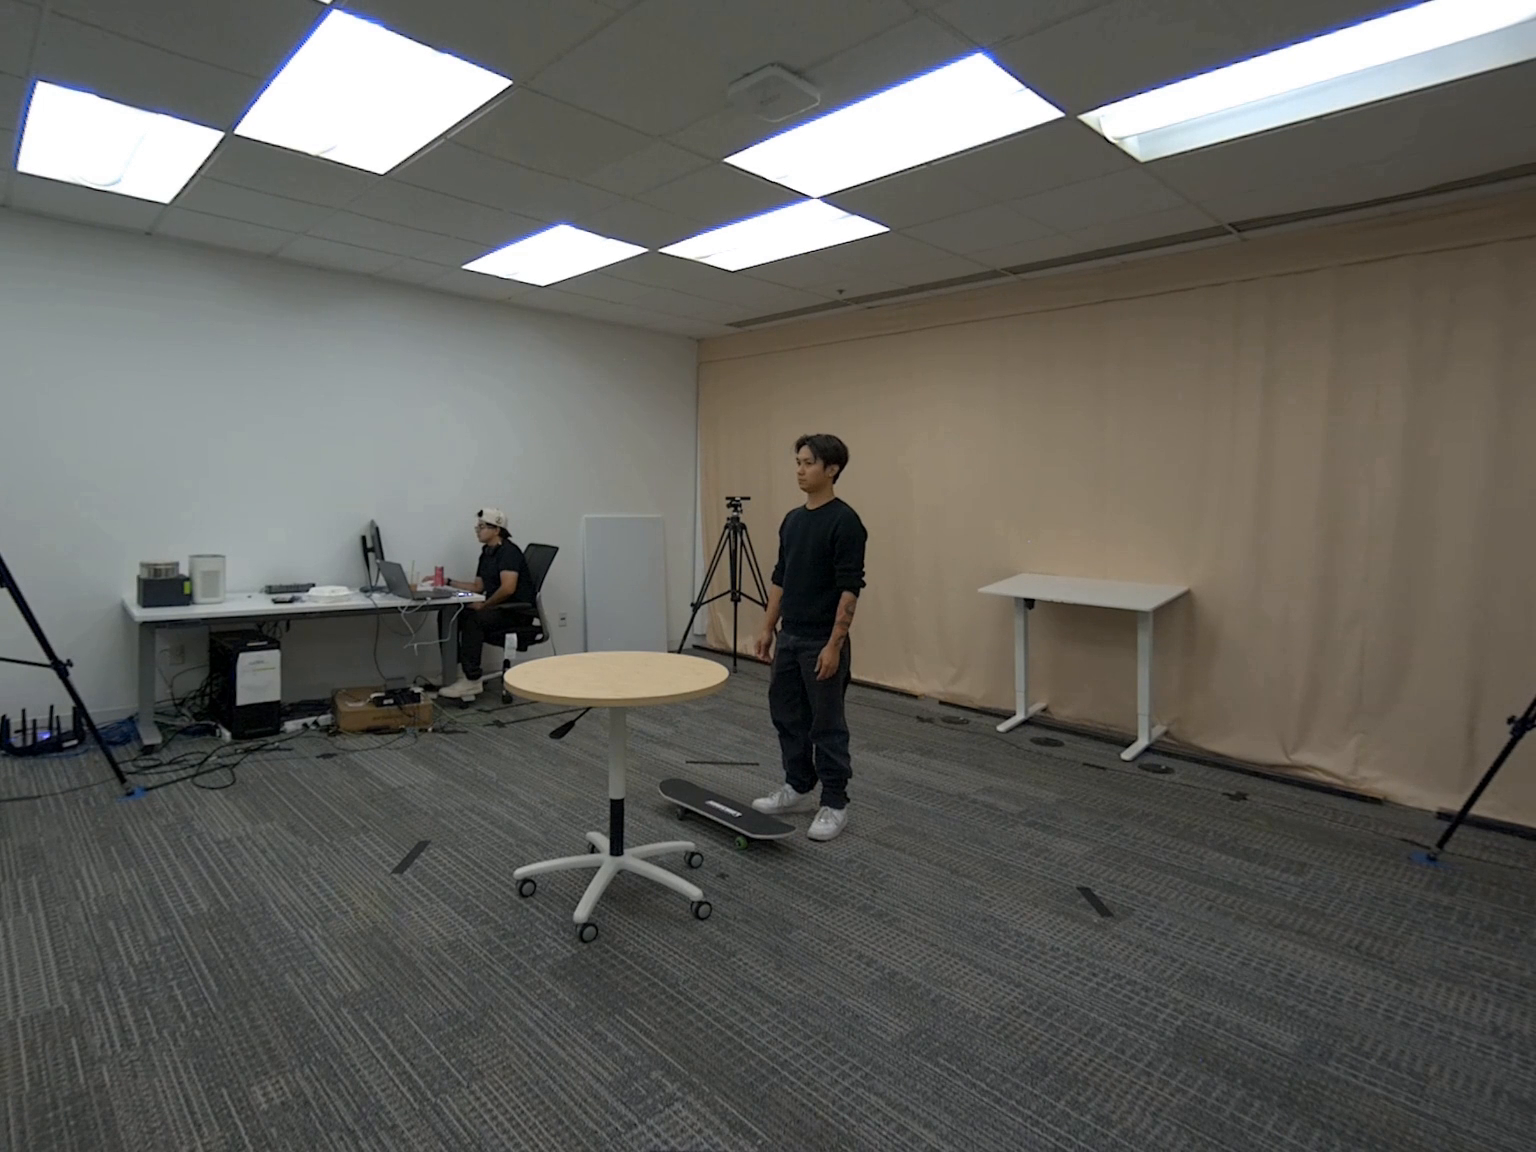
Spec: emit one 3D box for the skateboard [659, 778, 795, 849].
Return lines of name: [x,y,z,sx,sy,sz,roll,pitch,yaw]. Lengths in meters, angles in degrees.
skateboard: [-0.197,1.015,3.552,0.189,0.110,0.806,-2,6,-42]
